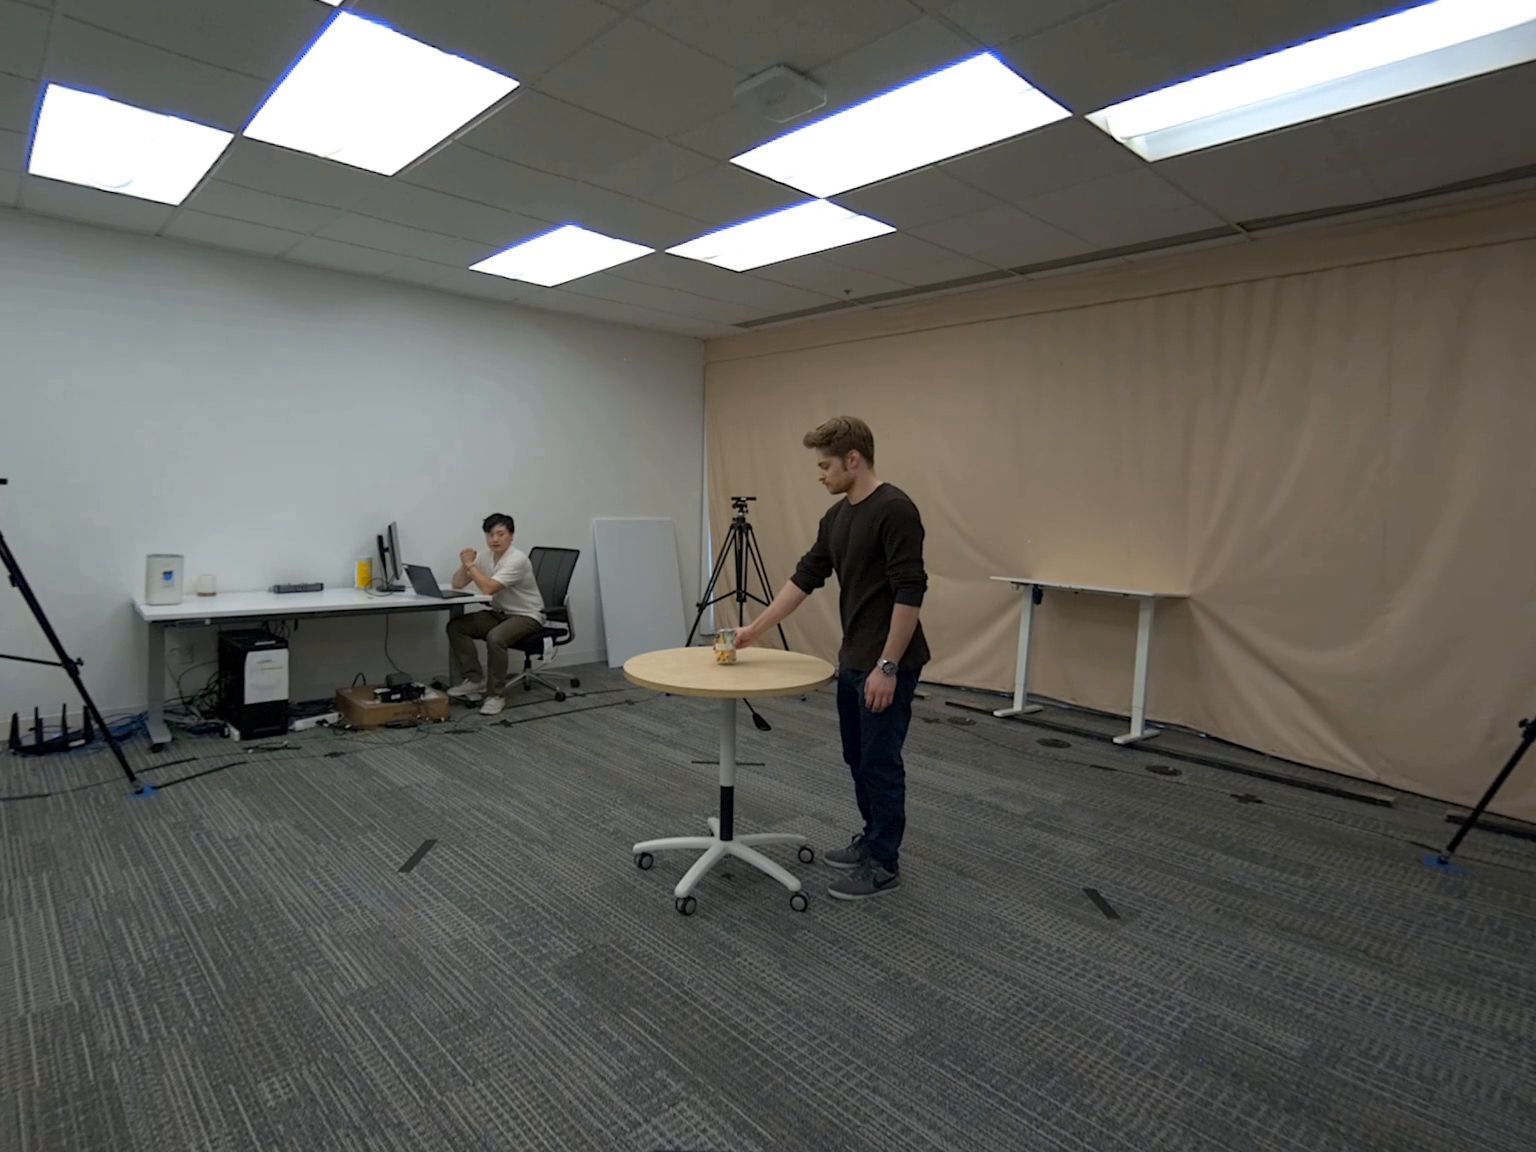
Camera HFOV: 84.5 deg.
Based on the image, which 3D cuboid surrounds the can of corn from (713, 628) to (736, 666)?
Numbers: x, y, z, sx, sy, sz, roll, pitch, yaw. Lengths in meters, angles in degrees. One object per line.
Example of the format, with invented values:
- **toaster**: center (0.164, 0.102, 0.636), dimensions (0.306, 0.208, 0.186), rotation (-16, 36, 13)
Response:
- **can of corn**: center (-0.159, 0.253, 3.076), dimensions (0.074, 0.110, 0.074), rotation (0, 5, -1)
